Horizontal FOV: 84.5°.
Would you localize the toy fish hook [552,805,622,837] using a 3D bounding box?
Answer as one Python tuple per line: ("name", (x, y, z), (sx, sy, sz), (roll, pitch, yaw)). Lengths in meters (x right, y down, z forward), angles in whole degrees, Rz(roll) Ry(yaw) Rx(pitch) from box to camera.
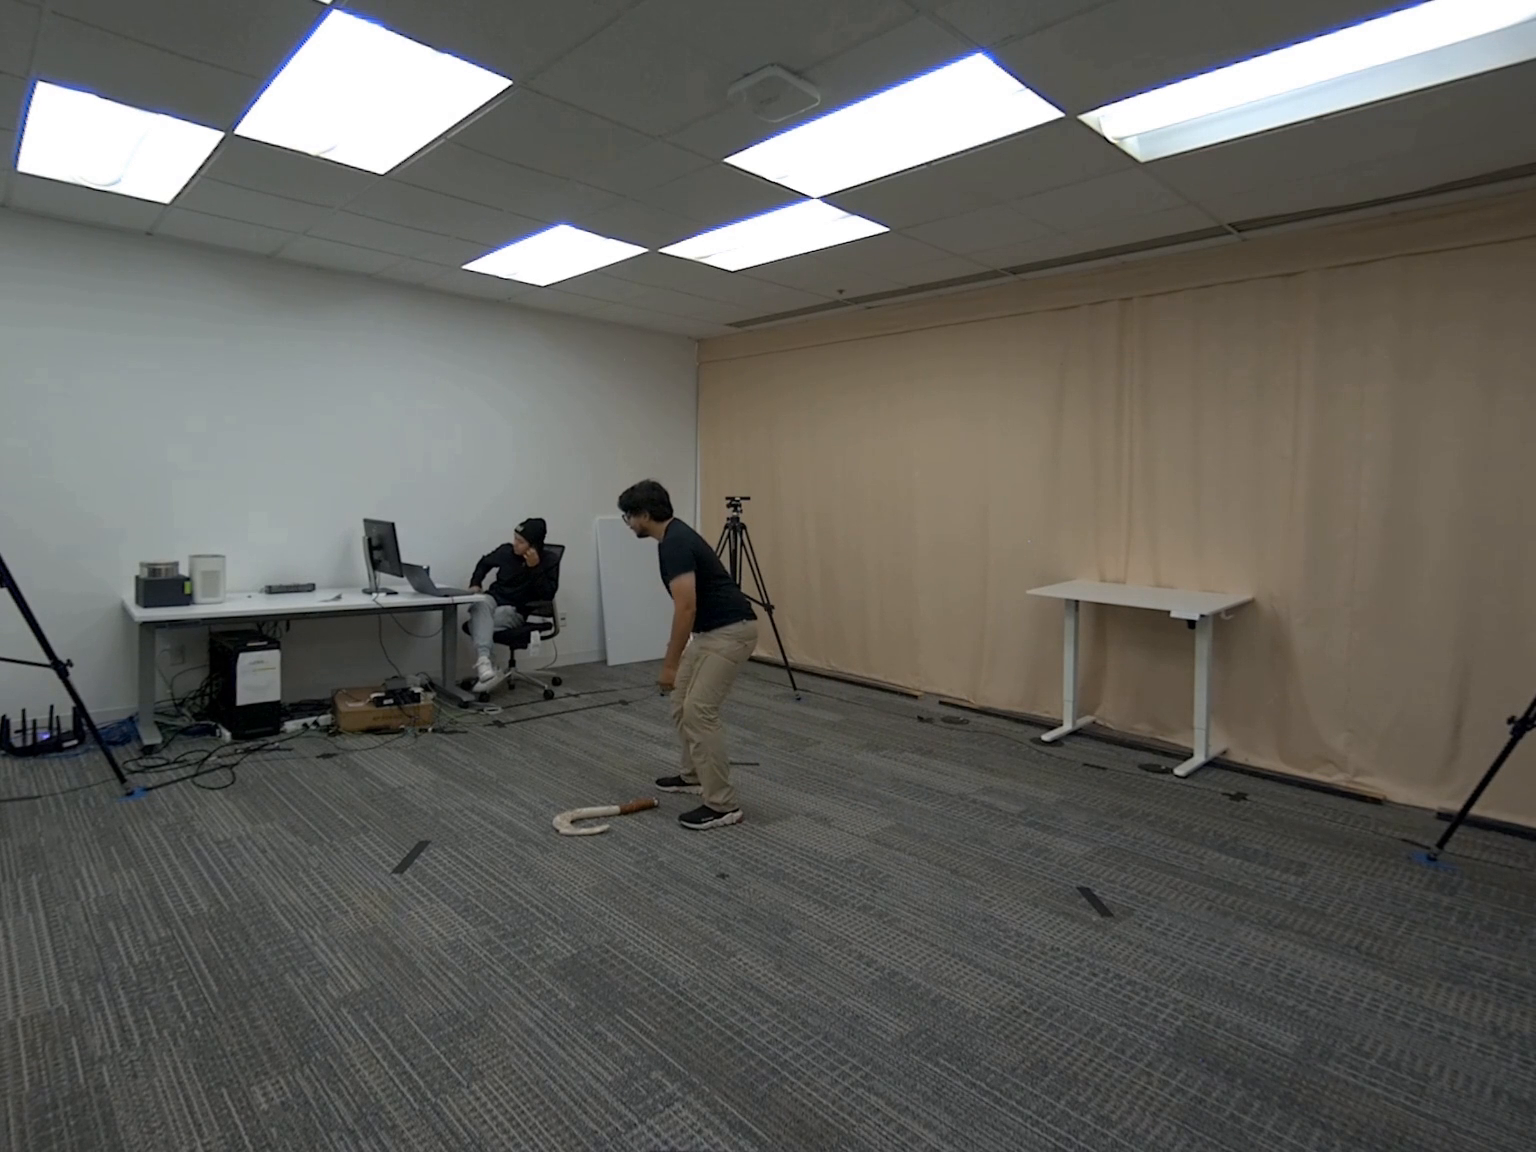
("toy fish hook", (-0.679, 1.036, 3.612), (0.496, 0.048, 0.231), (-3, 13, -35))
